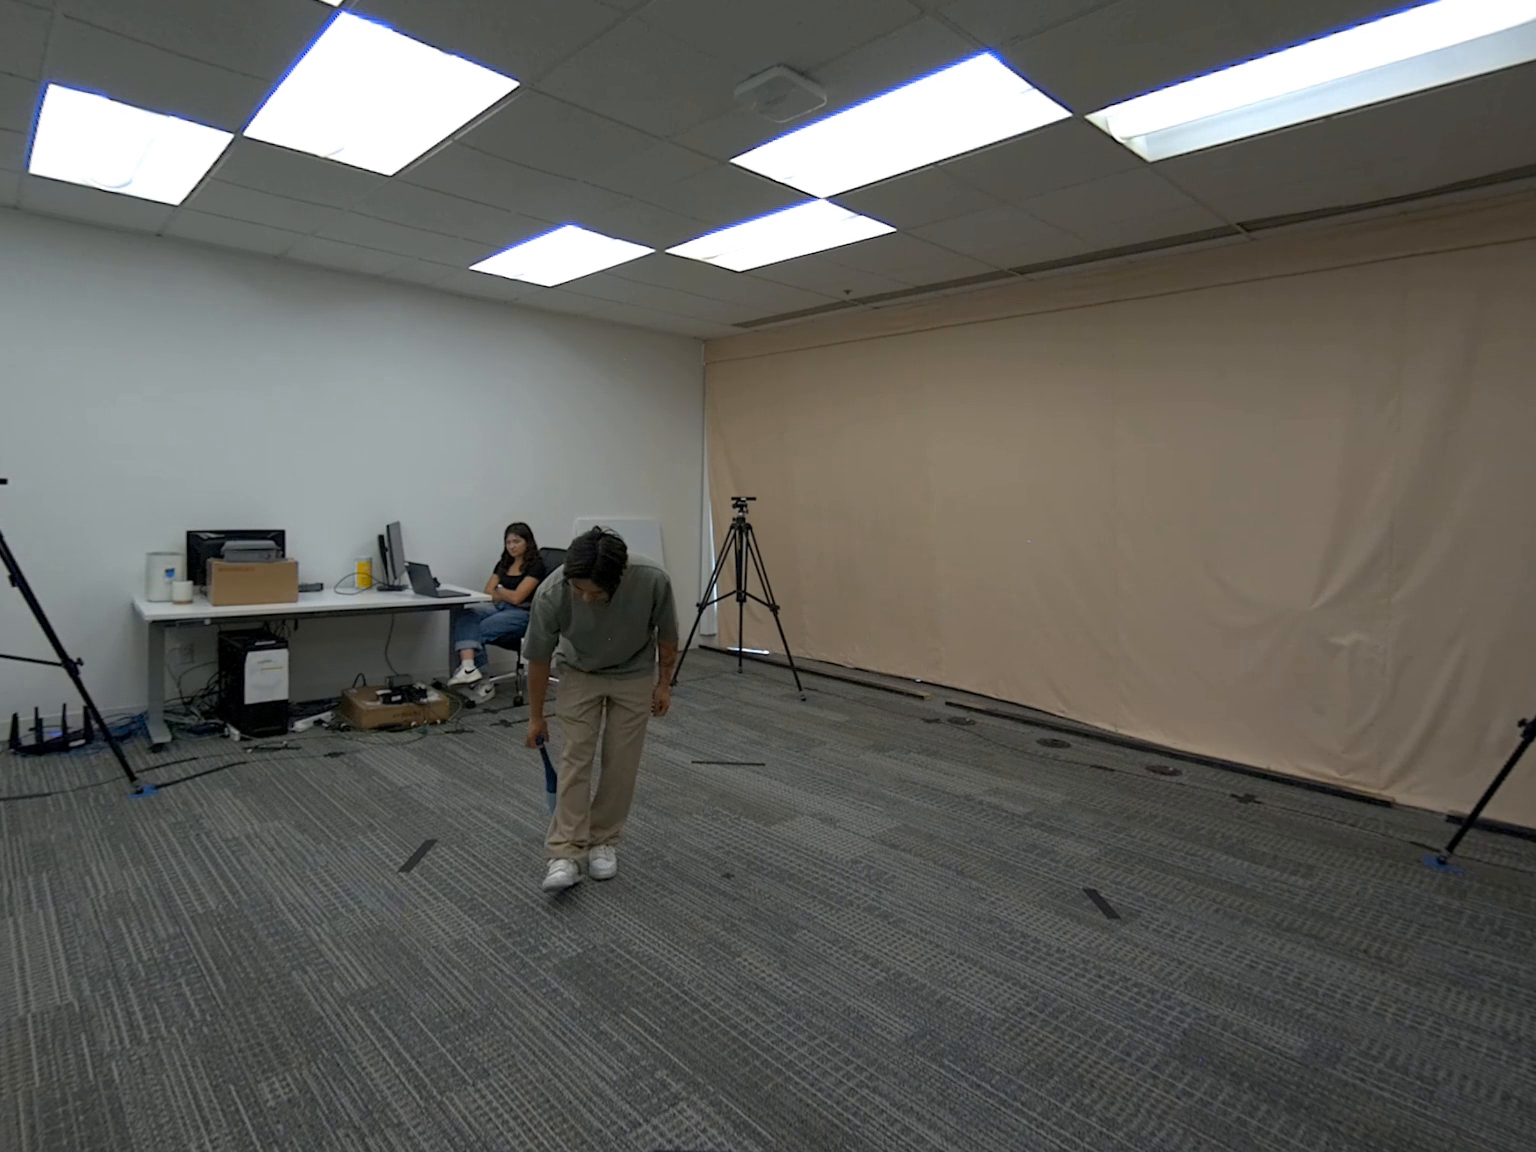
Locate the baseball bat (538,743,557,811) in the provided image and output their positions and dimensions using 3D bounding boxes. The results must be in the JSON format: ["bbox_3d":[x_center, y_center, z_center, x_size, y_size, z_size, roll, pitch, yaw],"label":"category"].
[{"bbox_3d":[-0.856,0.829,3.340,0.089,0.531,0.091,-3,35,1],"label":"baseball bat"}]
